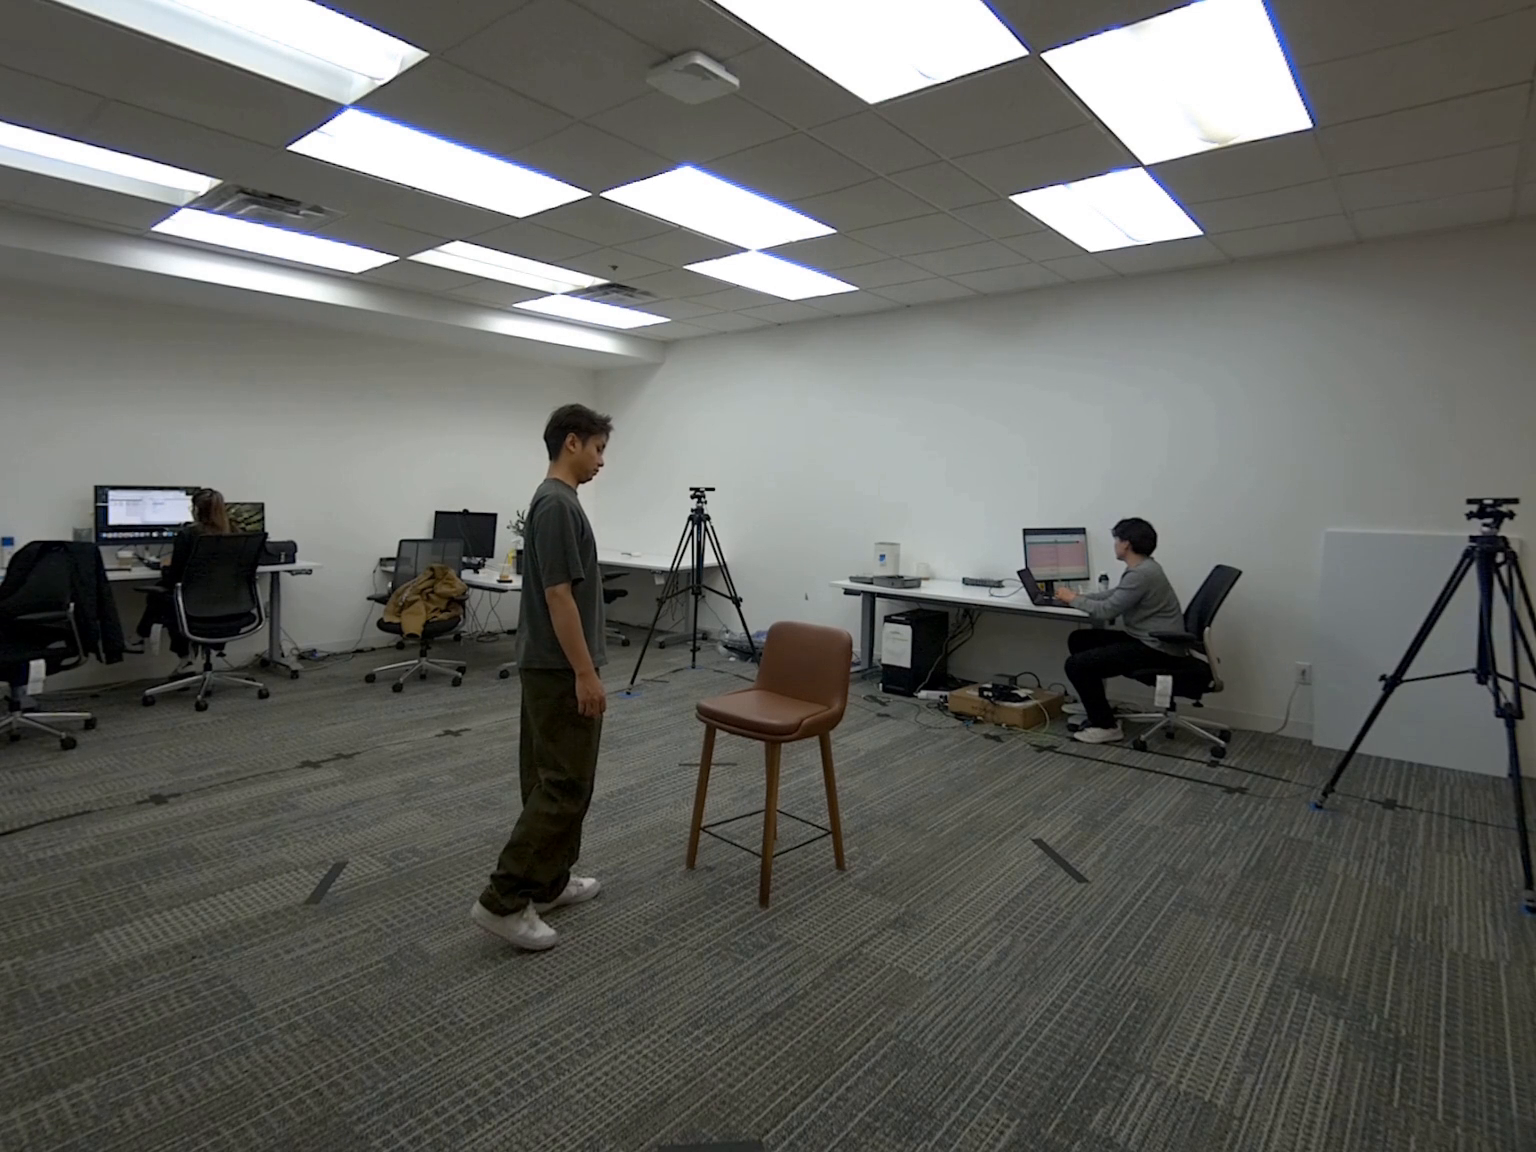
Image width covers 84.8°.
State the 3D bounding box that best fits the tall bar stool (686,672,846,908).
[{"bbox_3d":[-0.003,0.632,3.106,0.452,0.889,0.472,1,2,-44],"label":"tall bar stool"}]
